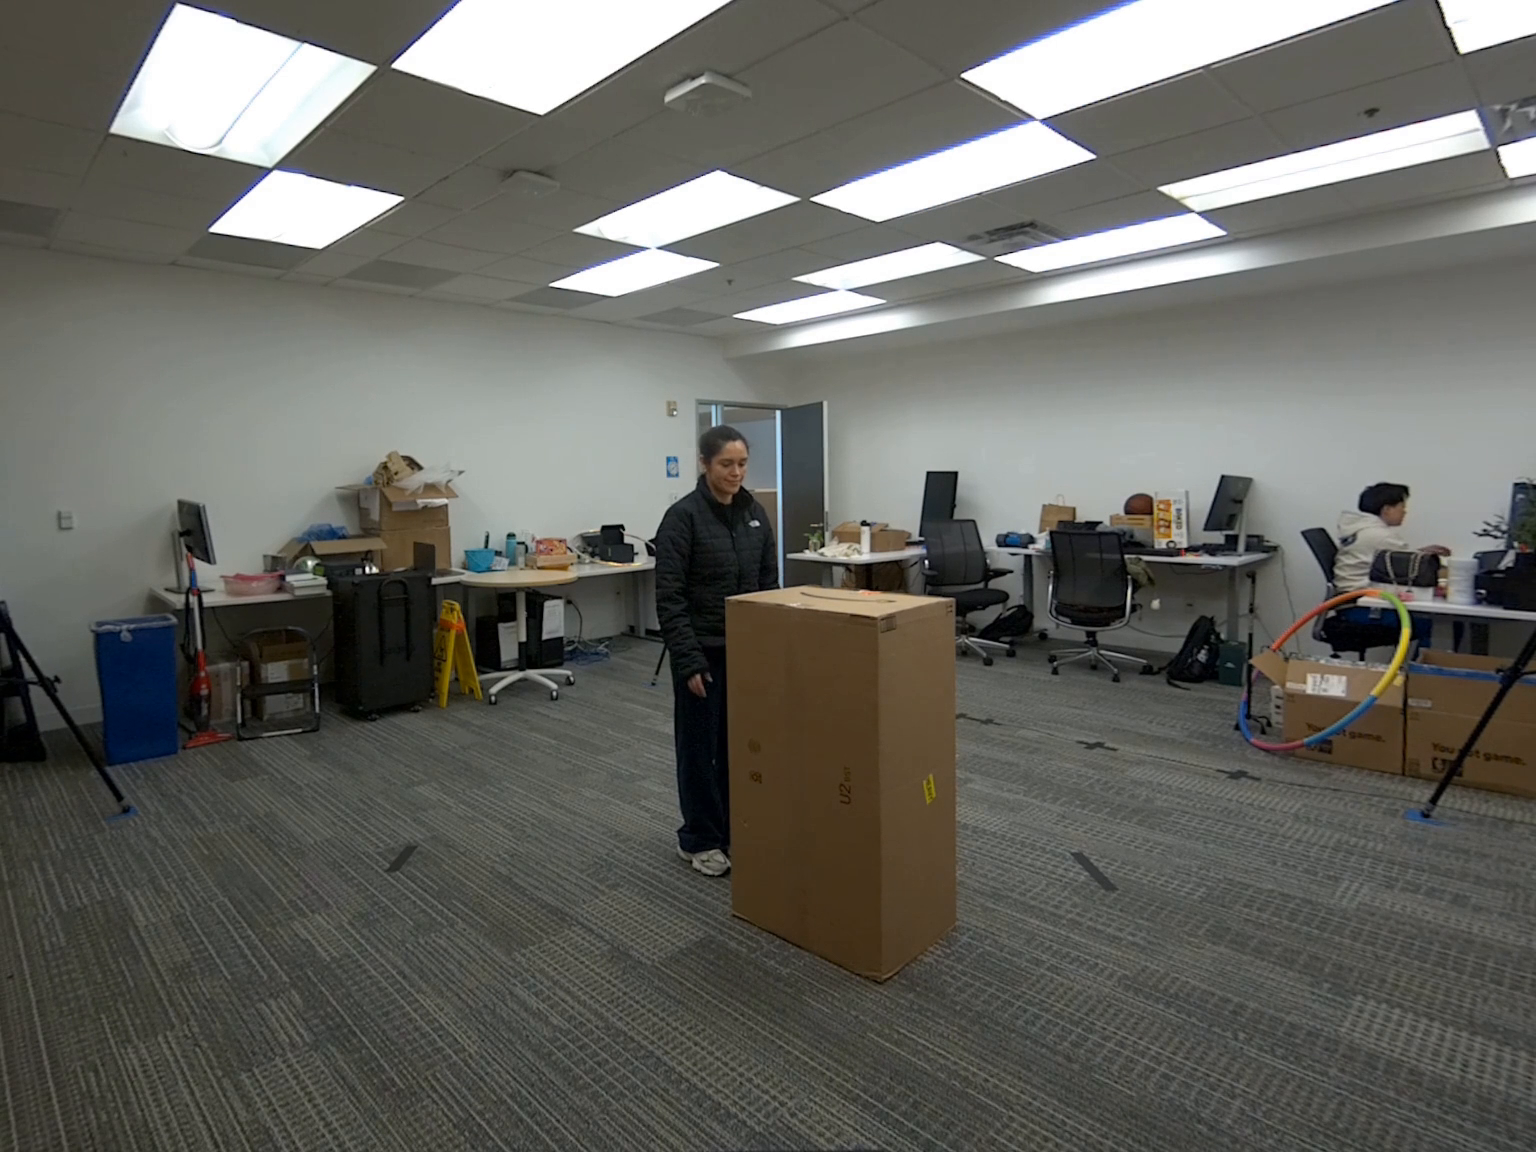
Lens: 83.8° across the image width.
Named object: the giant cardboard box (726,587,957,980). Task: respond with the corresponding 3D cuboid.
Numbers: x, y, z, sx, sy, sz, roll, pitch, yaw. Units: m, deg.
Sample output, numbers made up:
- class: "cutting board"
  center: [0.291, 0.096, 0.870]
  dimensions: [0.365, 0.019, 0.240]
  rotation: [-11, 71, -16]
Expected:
- class: "giant cardboard box"
  center: [0.229, 0.581, 2.676]
  dimensions: [0.595, 1.022, 0.415]
  rotation: [3, 5, 43]
